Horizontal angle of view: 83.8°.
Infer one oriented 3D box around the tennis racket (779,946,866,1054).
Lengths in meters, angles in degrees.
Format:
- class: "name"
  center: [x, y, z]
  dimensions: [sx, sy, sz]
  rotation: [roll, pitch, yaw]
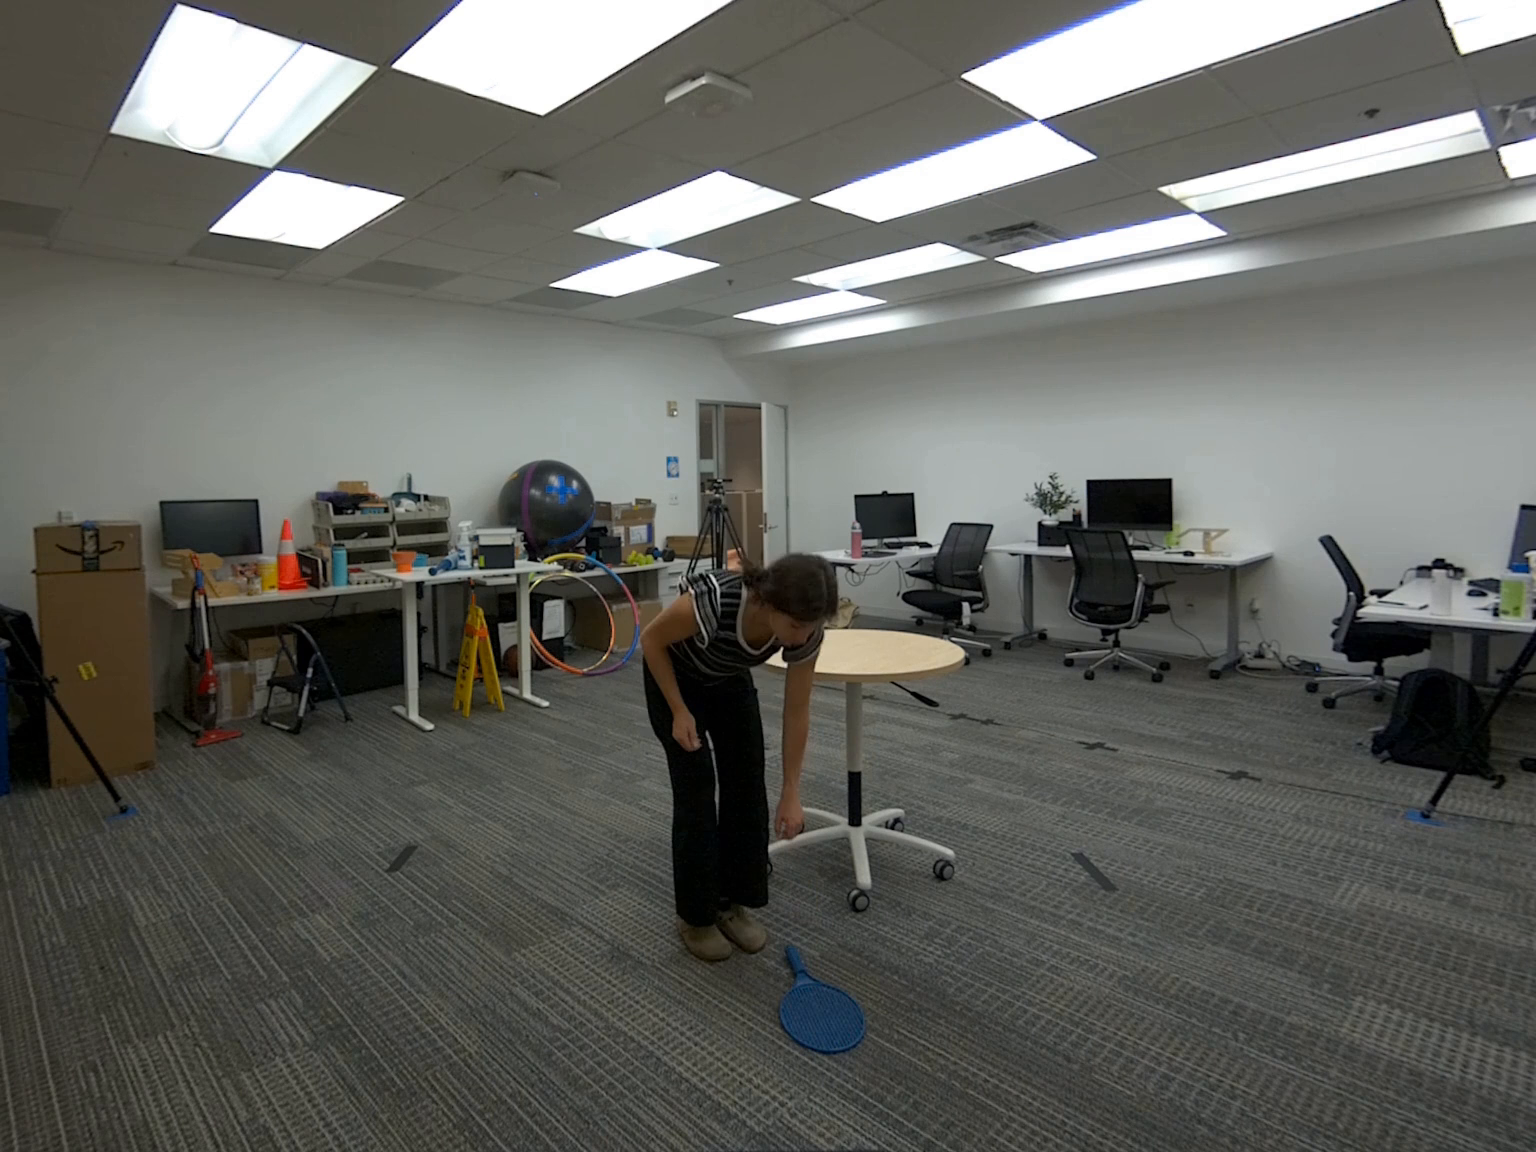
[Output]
- class: "tennis racket"
  center: [0.124, 1.125, 2.291]
  dimensions: [0.211, 0.031, 0.441]
  rotation: [-3, 8, -15]
